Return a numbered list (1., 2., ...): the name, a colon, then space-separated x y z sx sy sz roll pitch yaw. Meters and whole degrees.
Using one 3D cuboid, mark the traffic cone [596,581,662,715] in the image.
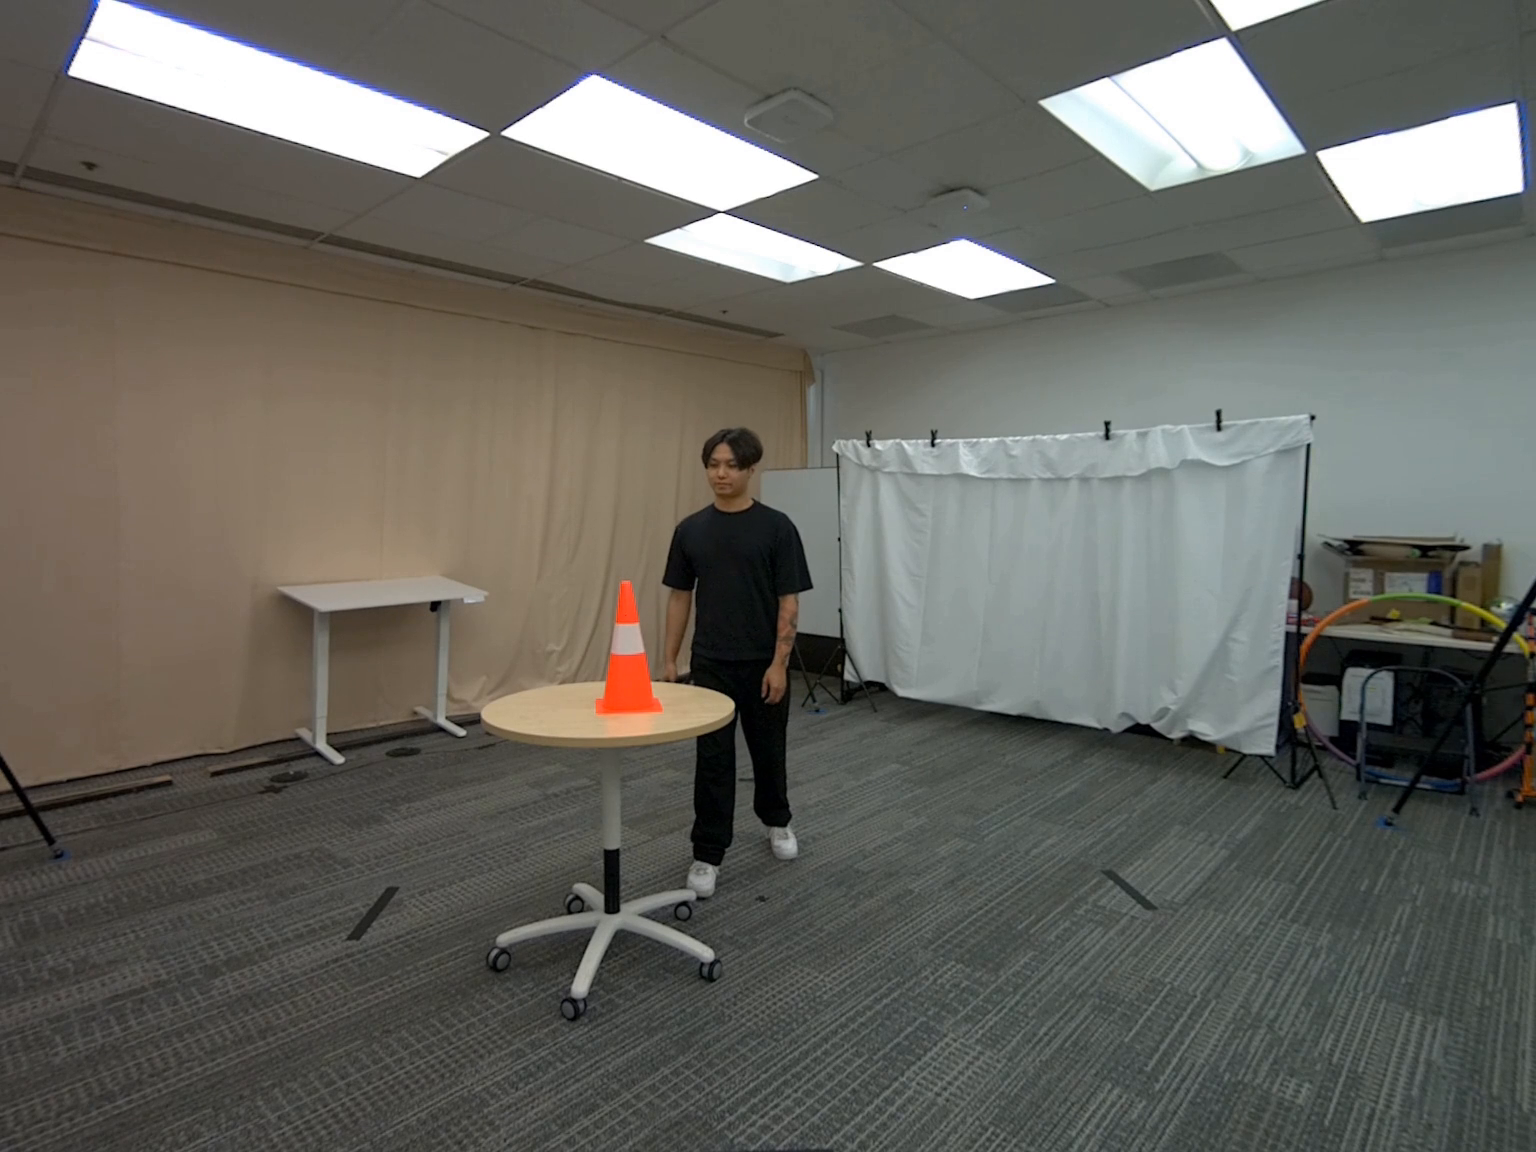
1. traffic cone: -0.423 0.212 2.569 0.201 0.383 0.207 -1 1 -11
